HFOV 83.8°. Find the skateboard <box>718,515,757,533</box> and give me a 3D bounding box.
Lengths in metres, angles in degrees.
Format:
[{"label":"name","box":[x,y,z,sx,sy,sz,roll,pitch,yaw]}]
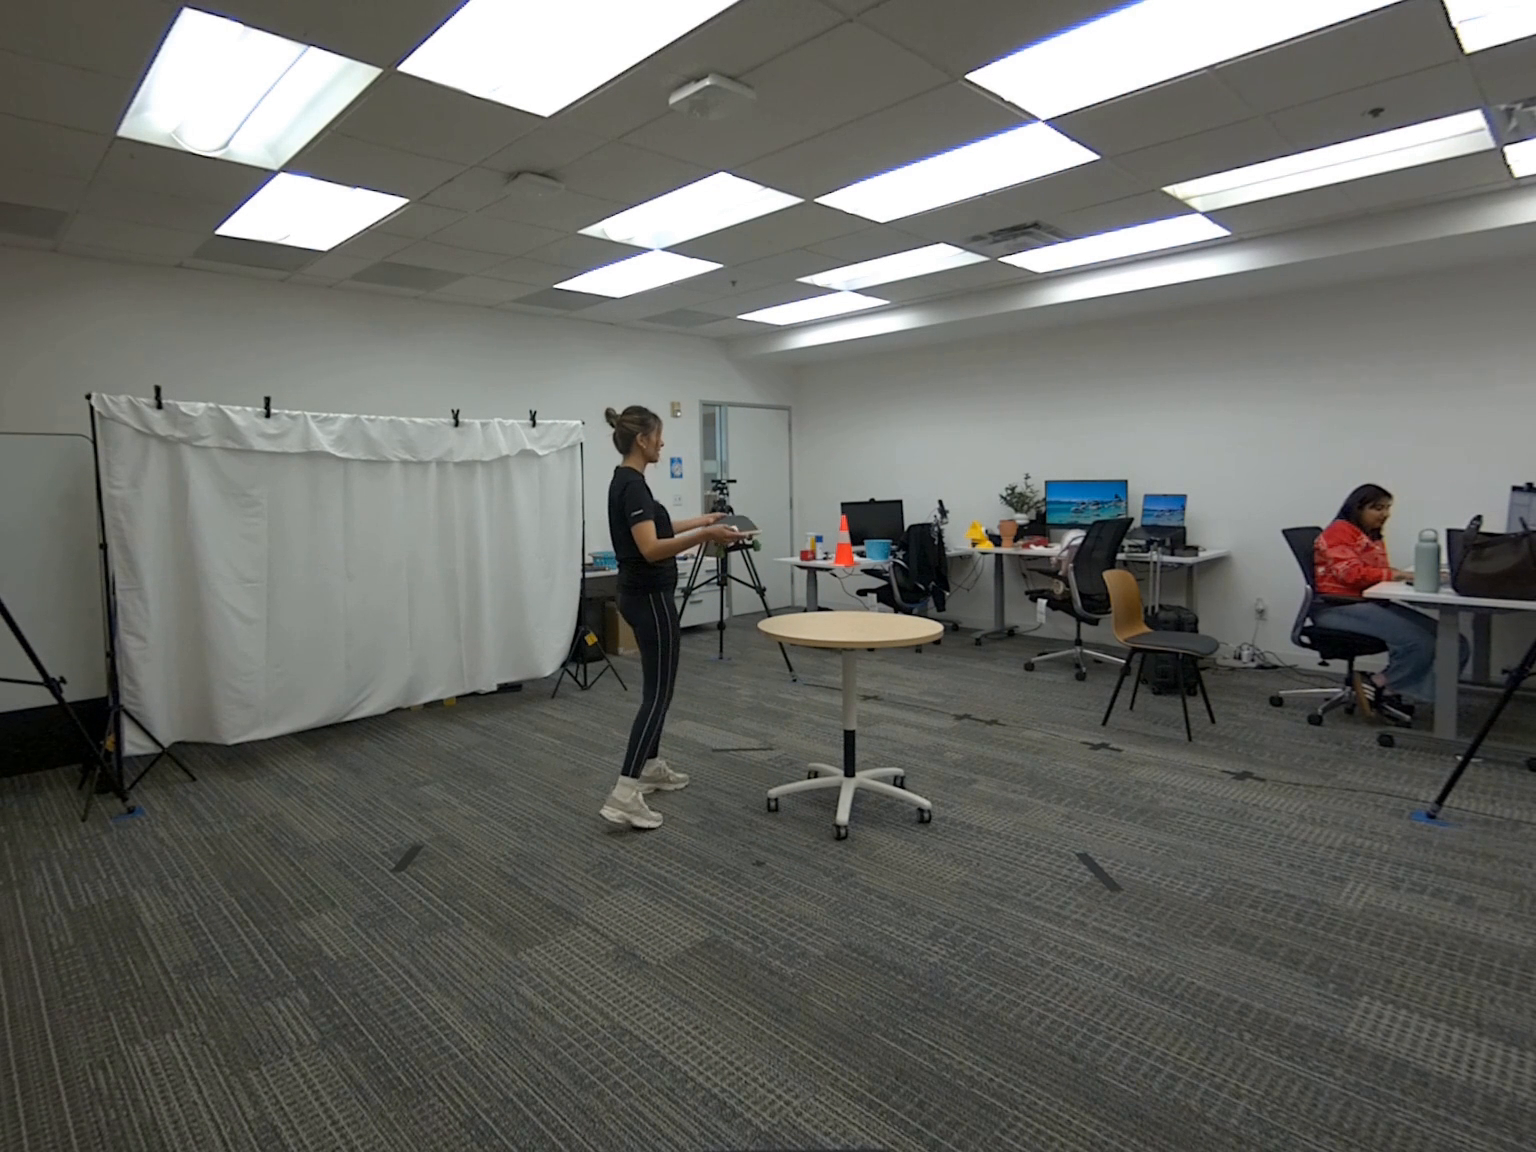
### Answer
[{"label":"skateboard","box":[-0.162,-0.170,3.698,0.192,0.109,0.795,-7,10,-6]}]
